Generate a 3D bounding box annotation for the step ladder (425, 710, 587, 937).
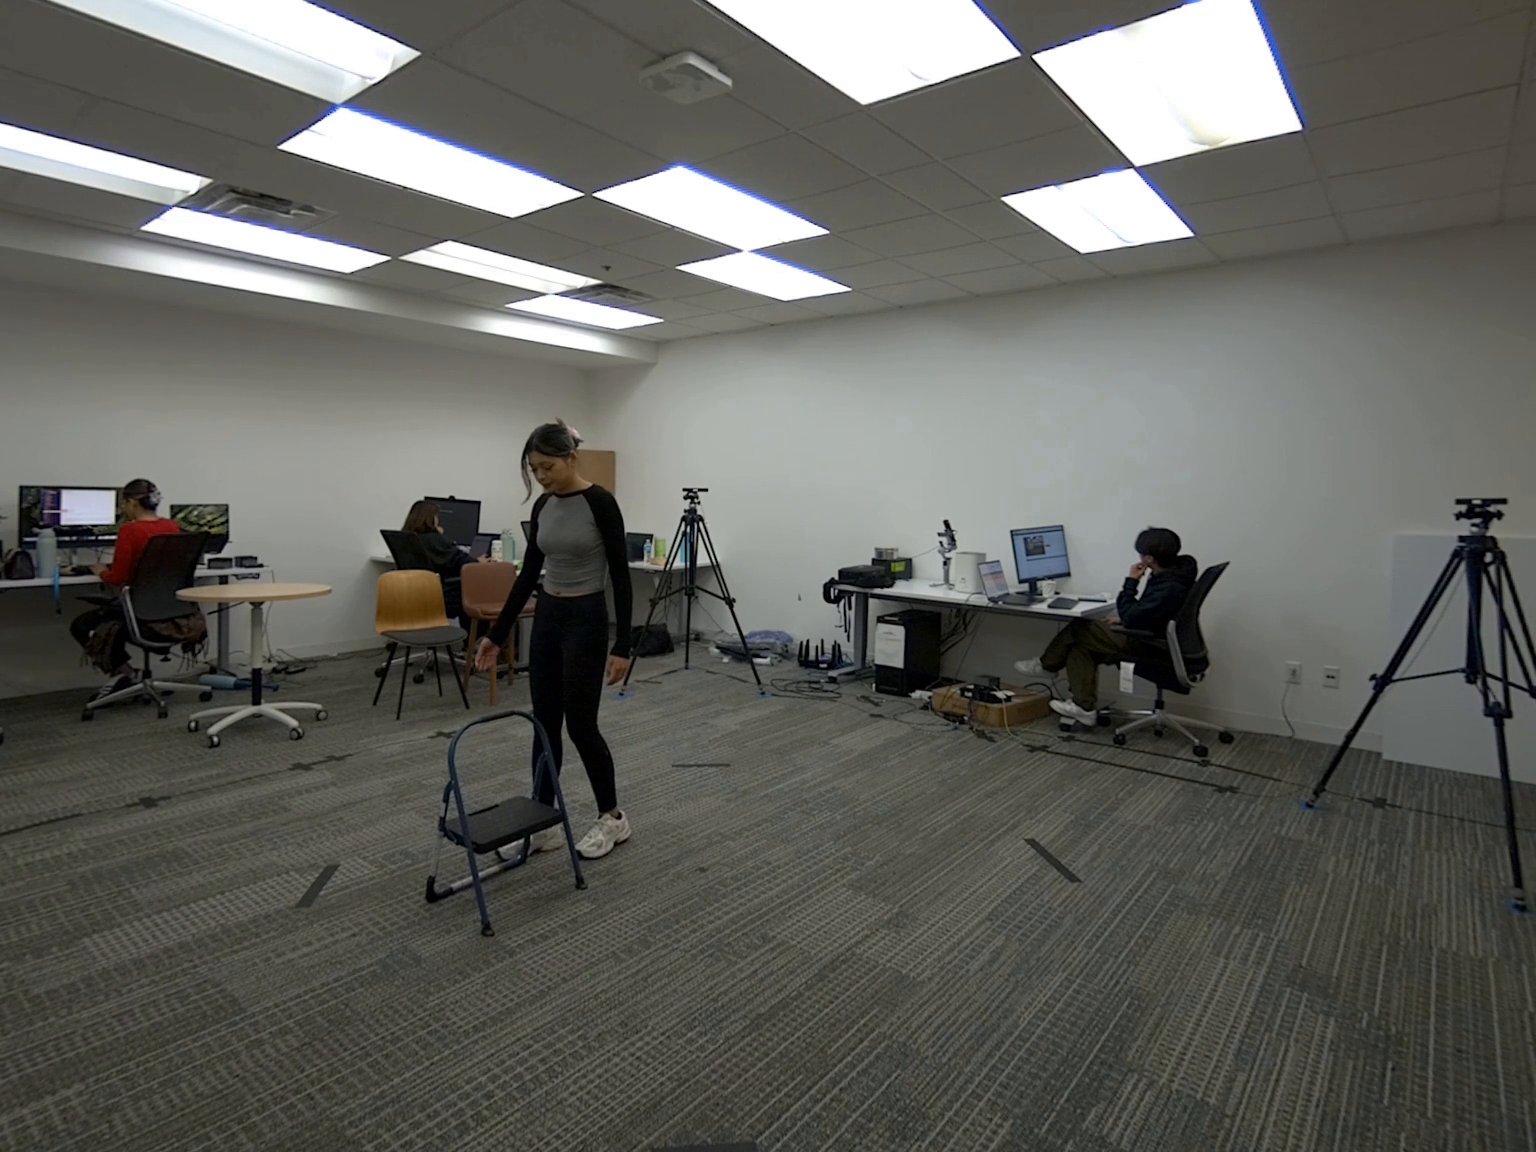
[{"bbox_3d":[-0.894,0.782,2.869,0.360,0.604,0.418,4,4,35],"label":"step ladder"}]
